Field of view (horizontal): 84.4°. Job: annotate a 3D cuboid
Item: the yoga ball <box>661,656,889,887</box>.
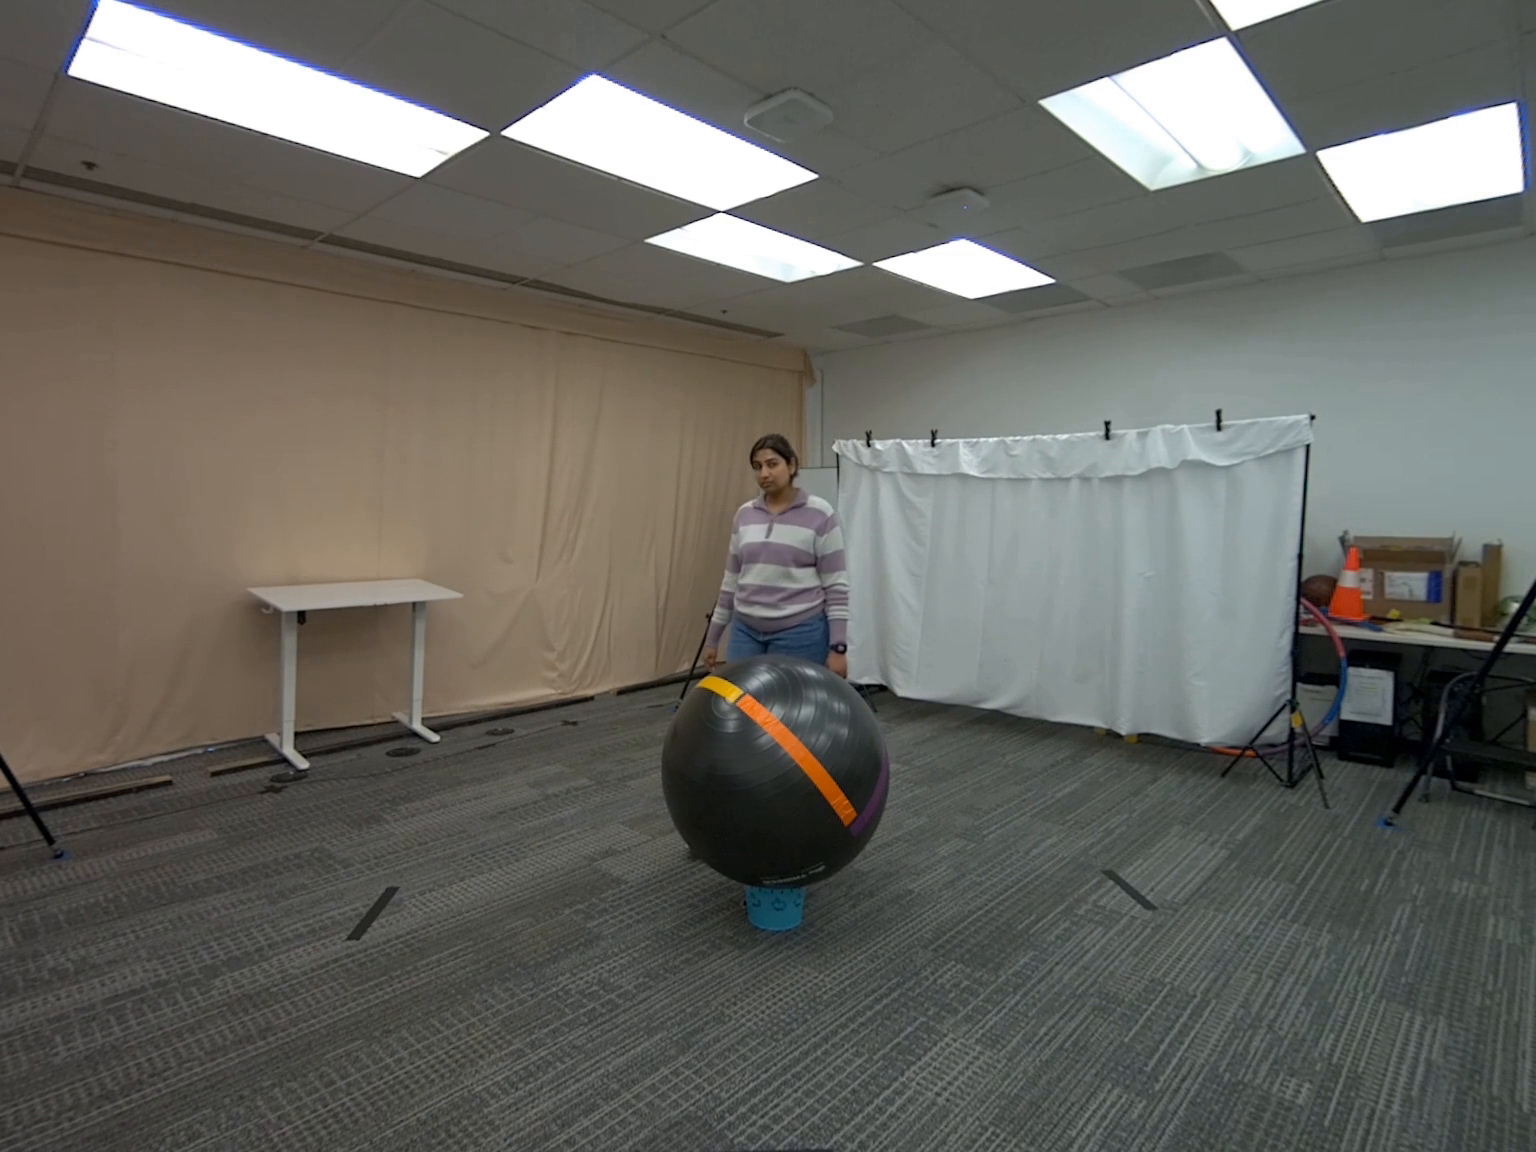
[{"bbox_3d":[0.028,0.638,2.829,0.757,0.756,0.760,0,4,-2],"label":"yoga ball"}]
